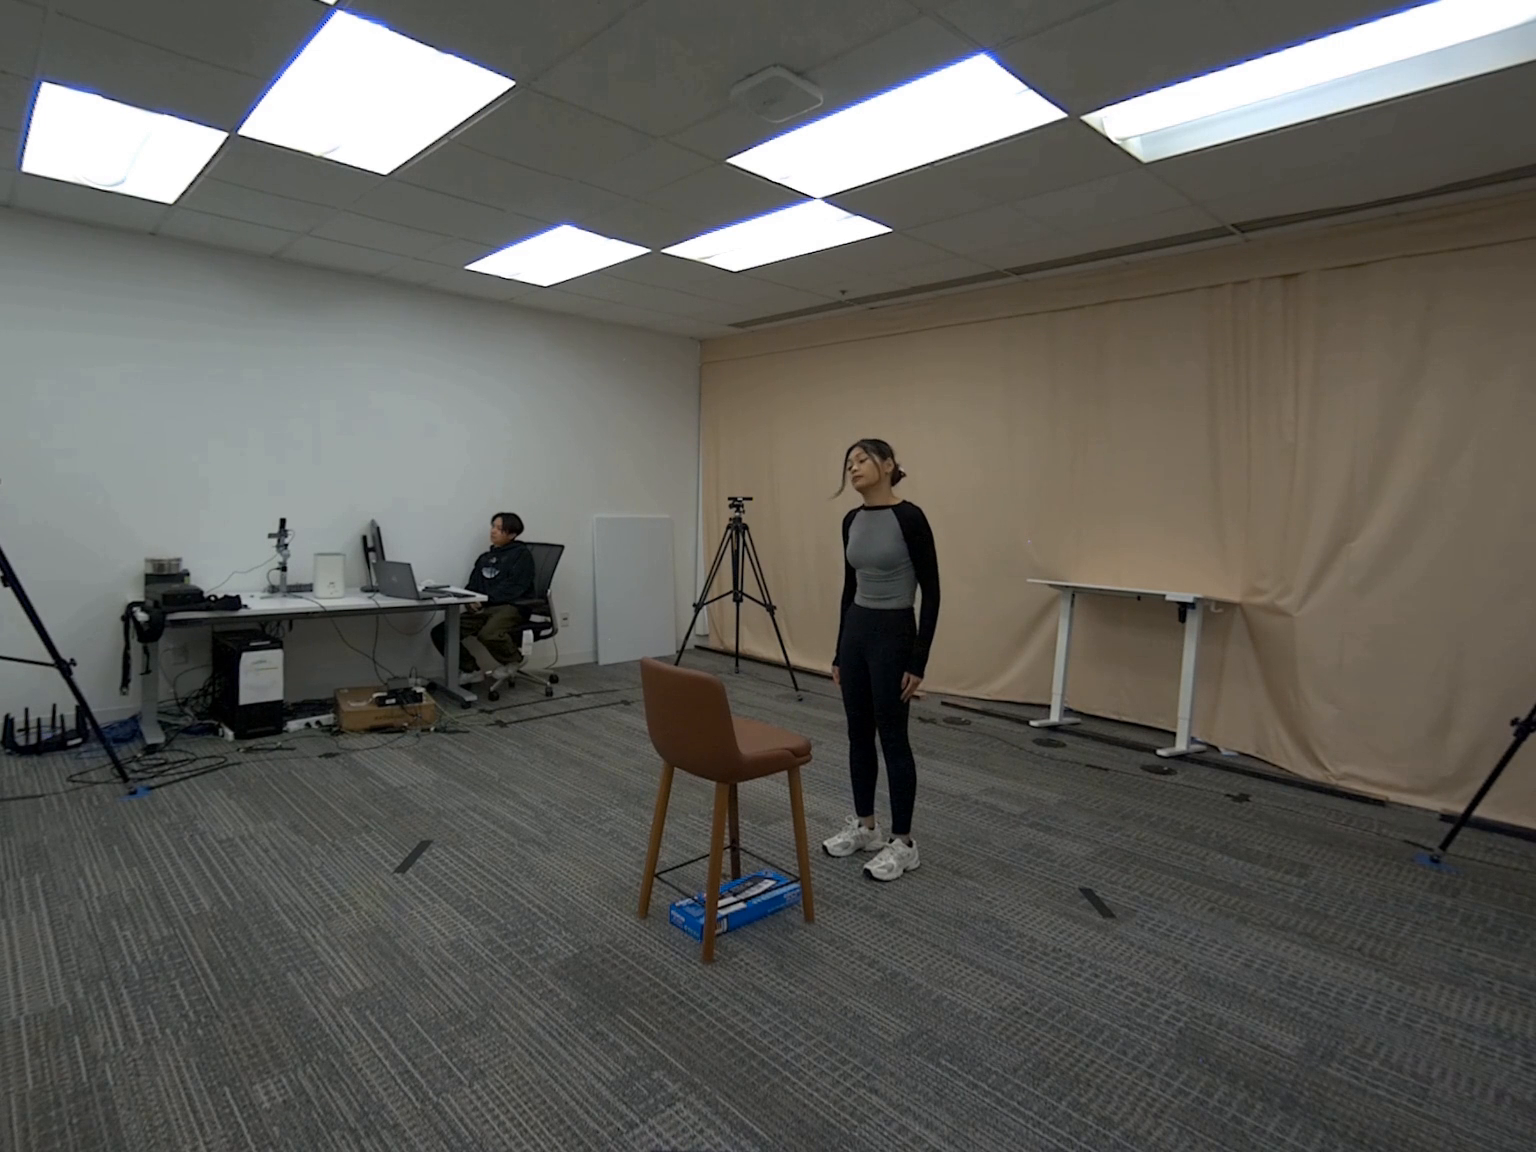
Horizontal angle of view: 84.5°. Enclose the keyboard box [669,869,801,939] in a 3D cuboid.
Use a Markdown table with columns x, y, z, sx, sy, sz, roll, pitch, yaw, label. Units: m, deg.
| x | y | z | sx | sy | sz | roll | pitch | yaw | label |
| --- | --- | --- | --- | --- | --- | --- | --- | --- | --- |
| -0.108 | 1.105 | 2.831 | 0.427 | 0.059 | 0.180 | -4 | 8 | -41 | keyboard box |
